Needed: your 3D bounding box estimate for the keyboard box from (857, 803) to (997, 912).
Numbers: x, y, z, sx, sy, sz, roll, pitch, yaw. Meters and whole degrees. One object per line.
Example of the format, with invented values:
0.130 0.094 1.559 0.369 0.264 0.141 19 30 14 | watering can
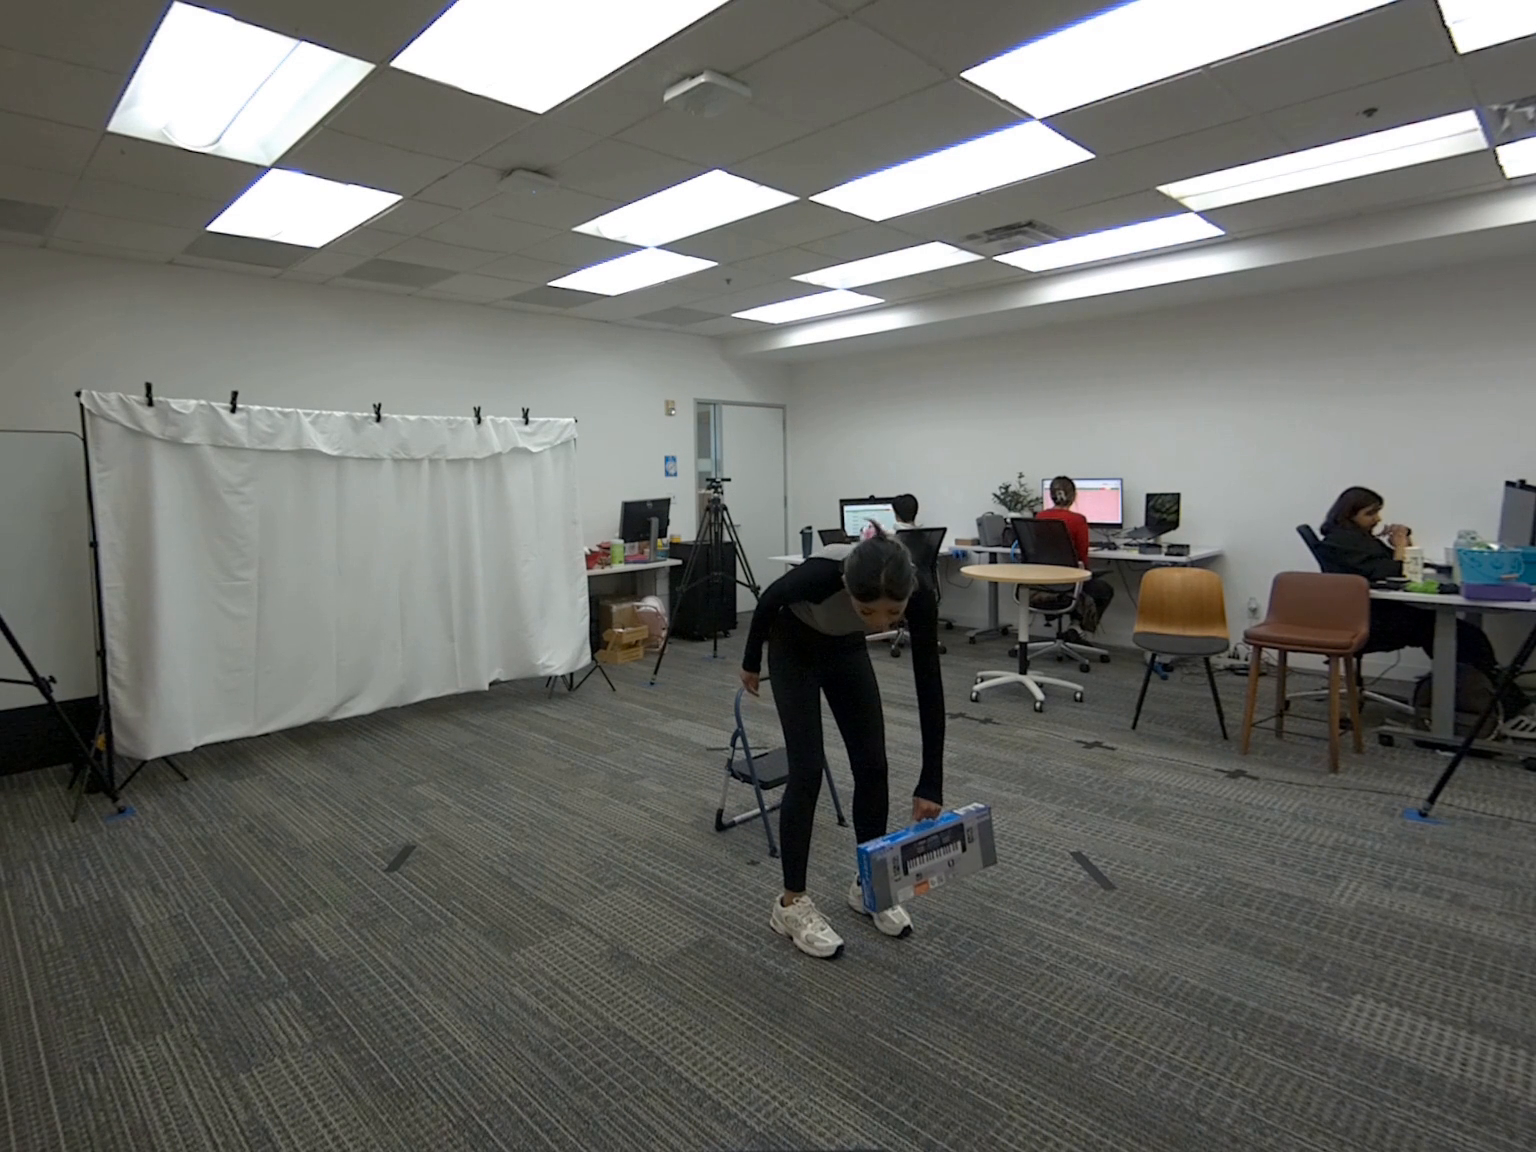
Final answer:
0.452 0.781 2.399 0.428 0.175 0.060 -11 5 -27 | keyboard box
